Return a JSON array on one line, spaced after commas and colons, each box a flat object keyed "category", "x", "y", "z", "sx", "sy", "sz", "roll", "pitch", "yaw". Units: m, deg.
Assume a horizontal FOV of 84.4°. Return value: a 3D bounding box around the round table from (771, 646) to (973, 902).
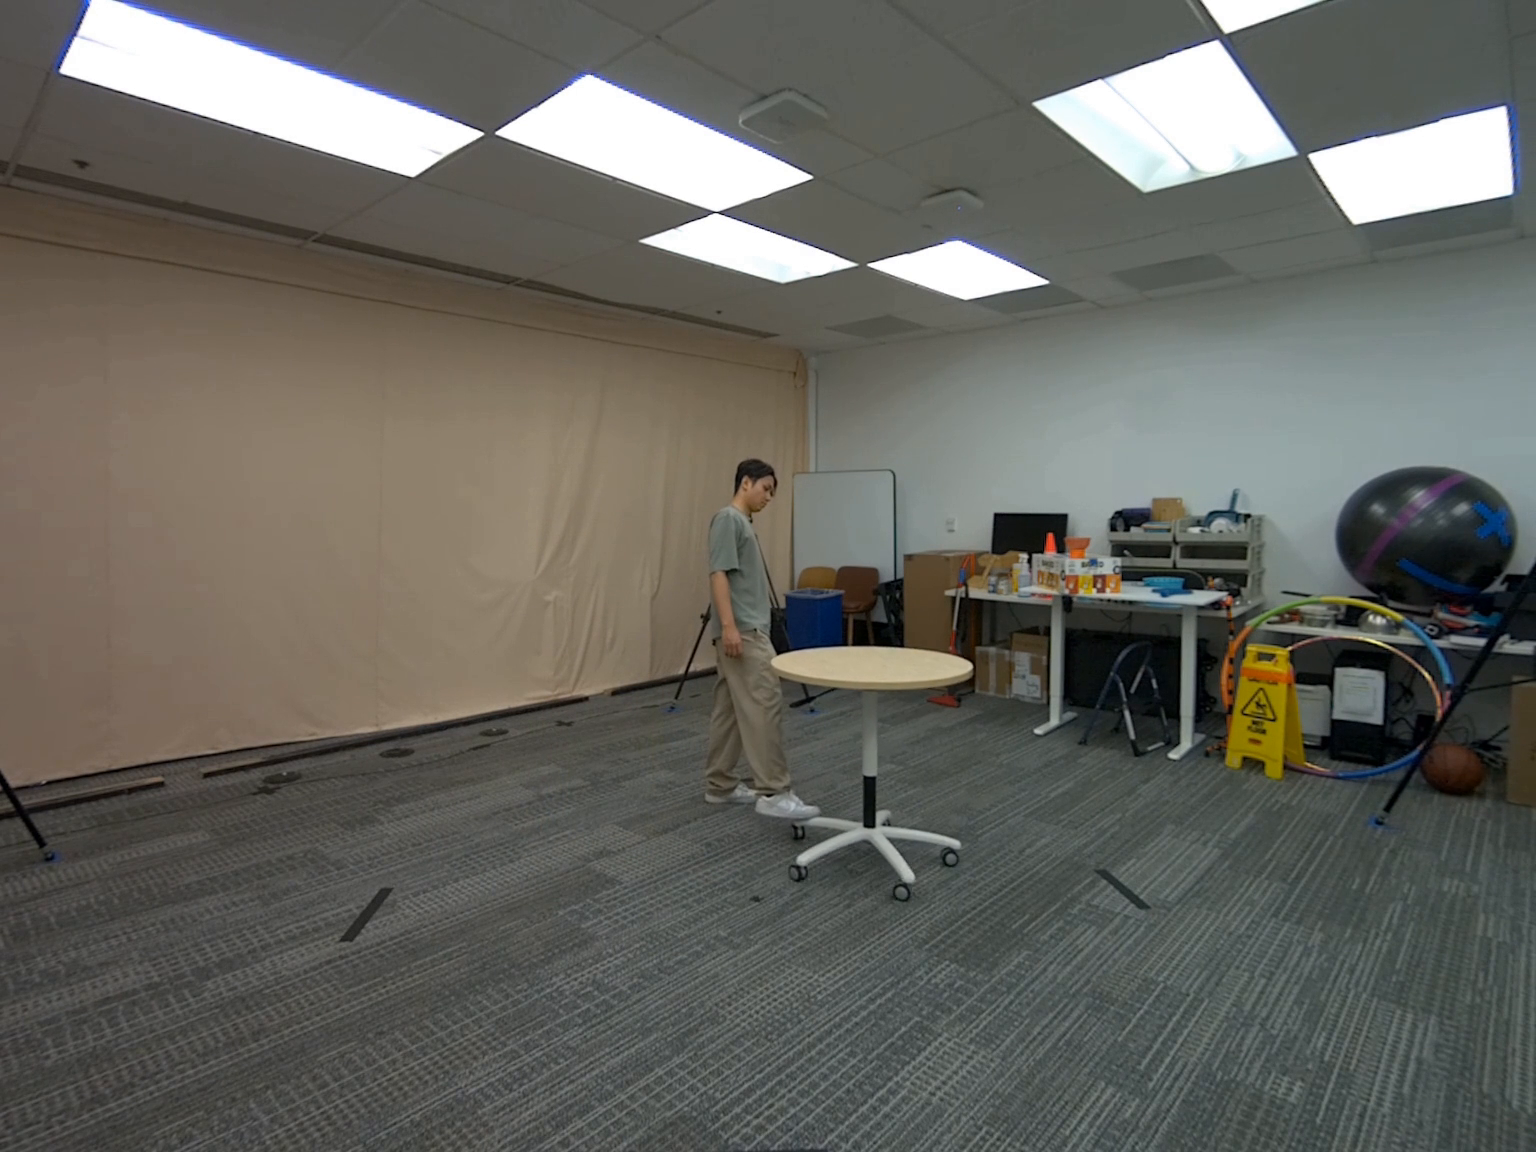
[{"category": "round table", "x": 0.385, "y": 0.725, "z": 3.271, "sx": 0.784, "sy": 0.785, "sz": 0.787, "roll": 0, "pitch": 3, "yaw": -2}]
